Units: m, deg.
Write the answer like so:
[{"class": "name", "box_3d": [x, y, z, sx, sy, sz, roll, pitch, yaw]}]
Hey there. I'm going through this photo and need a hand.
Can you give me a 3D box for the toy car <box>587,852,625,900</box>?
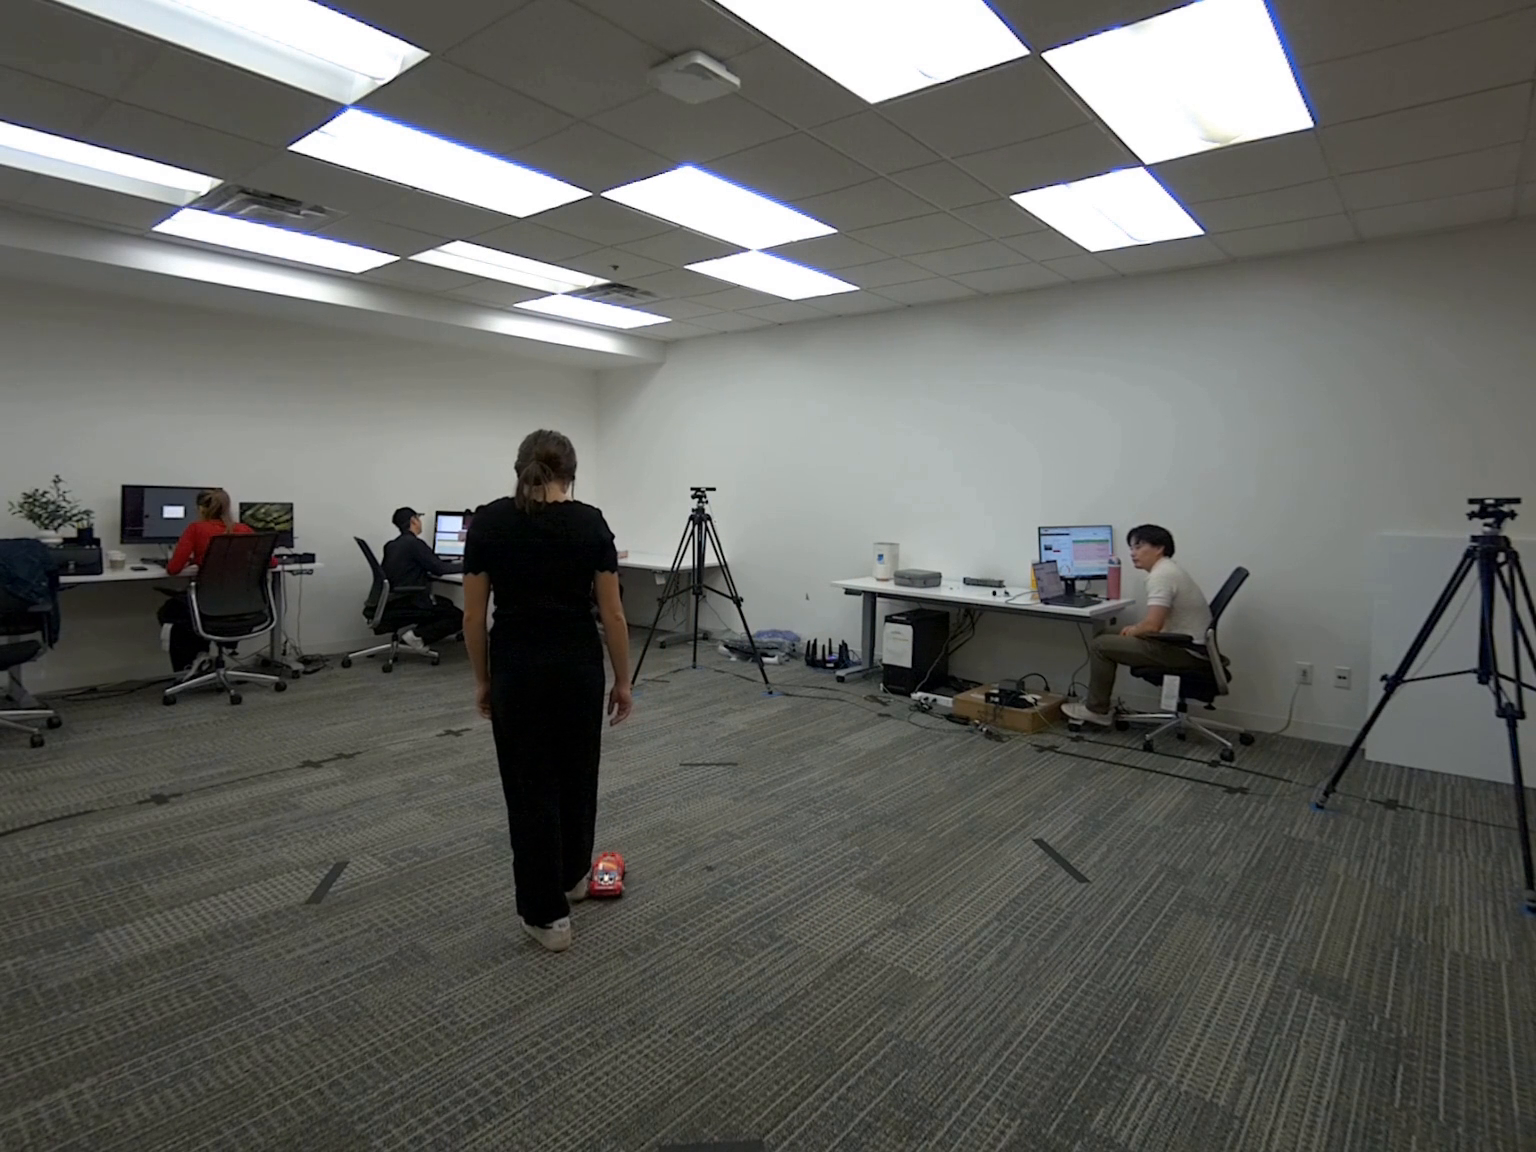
[{"class": "toy car", "box_3d": [-0.569, 1.041, 2.967, 0.130, 0.082, 0.259, 0, 17, -5]}]
